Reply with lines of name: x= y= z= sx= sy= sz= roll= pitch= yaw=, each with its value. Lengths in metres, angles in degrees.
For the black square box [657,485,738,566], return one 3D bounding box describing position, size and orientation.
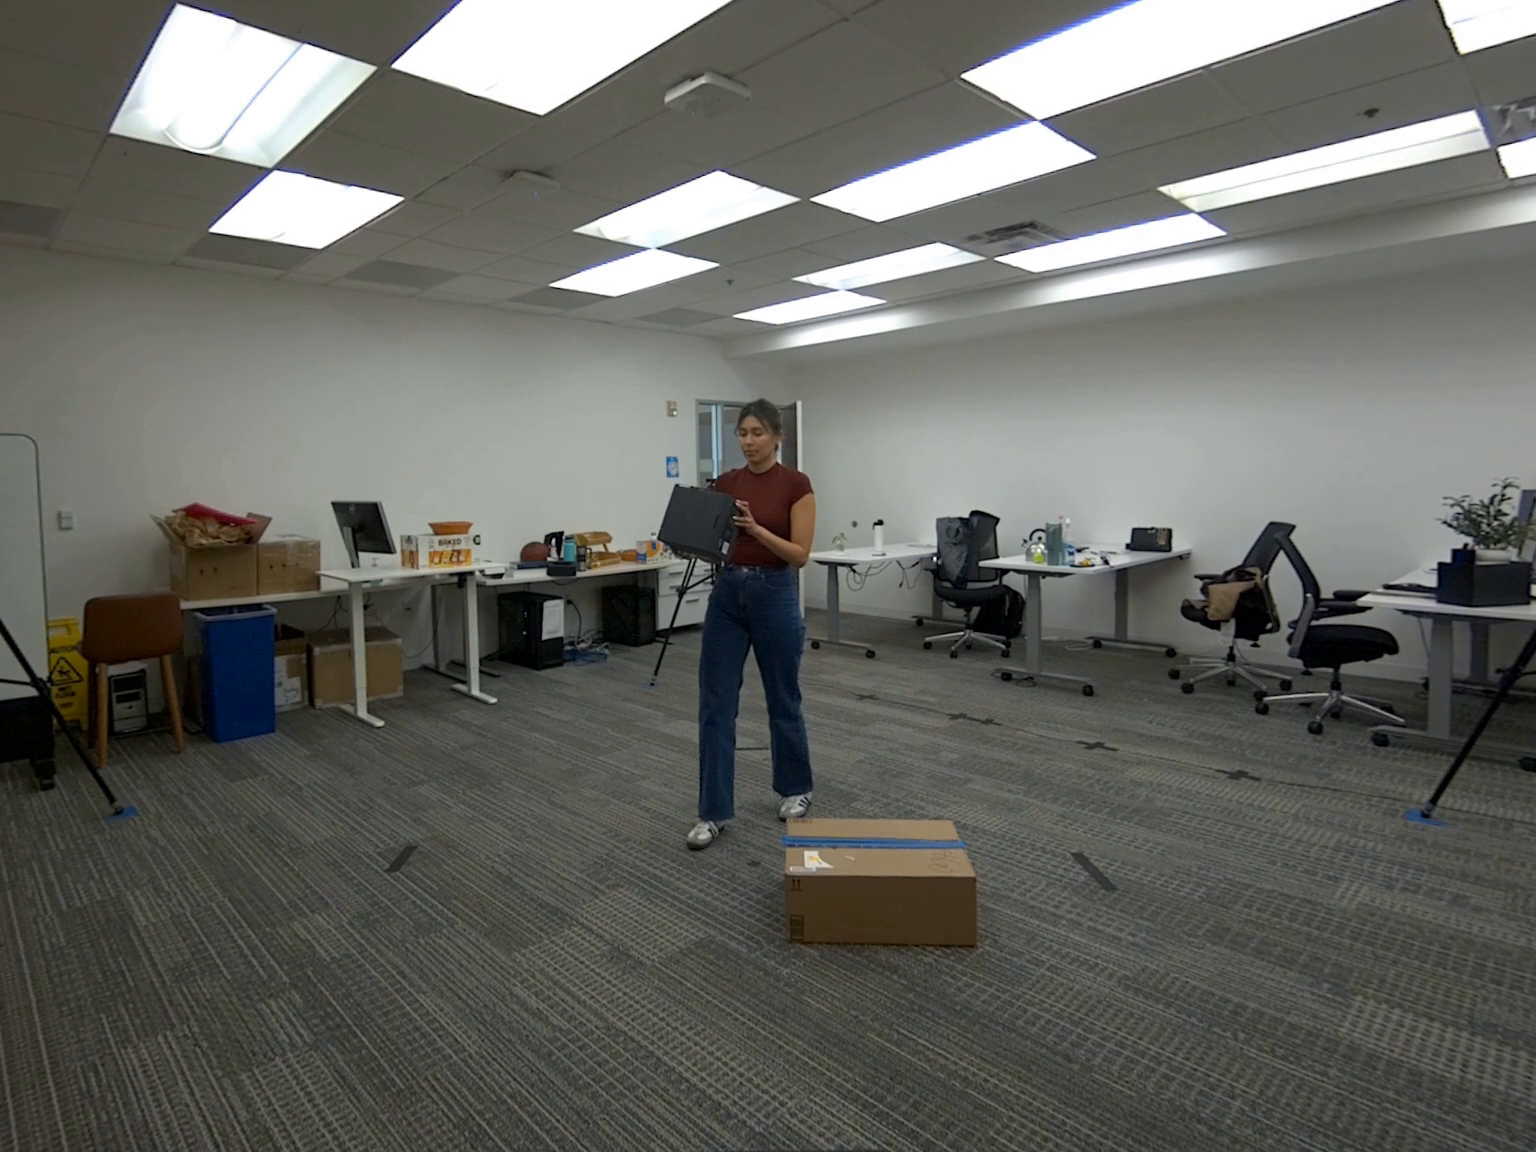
black square box: x=-0.252 y=-0.194 z=3.091 sx=0.235 sy=0.218 sz=0.150 roll=13 pitch=-11 yaw=30
